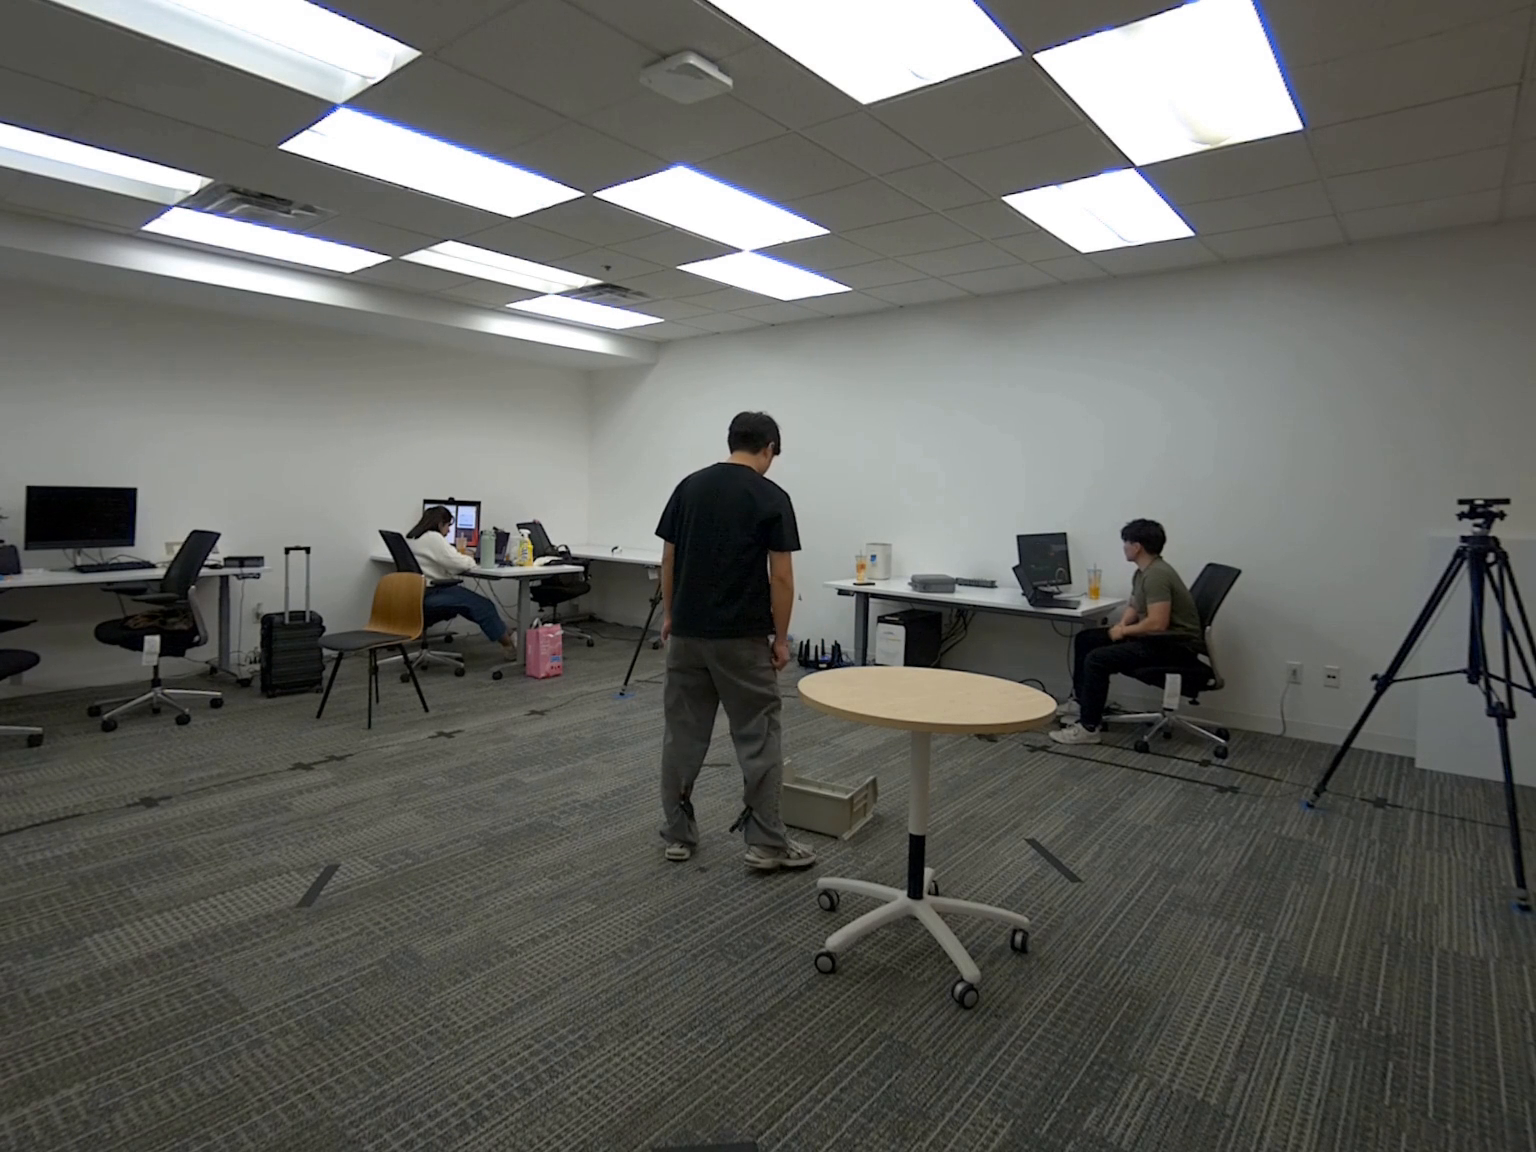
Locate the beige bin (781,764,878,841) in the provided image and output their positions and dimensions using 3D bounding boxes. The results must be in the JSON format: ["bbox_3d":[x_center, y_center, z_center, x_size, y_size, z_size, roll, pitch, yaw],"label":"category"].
[{"bbox_3d":[0.201,0.934,3.635,0.435,0.188,0.368,4,7,29],"label":"beige bin"}]
